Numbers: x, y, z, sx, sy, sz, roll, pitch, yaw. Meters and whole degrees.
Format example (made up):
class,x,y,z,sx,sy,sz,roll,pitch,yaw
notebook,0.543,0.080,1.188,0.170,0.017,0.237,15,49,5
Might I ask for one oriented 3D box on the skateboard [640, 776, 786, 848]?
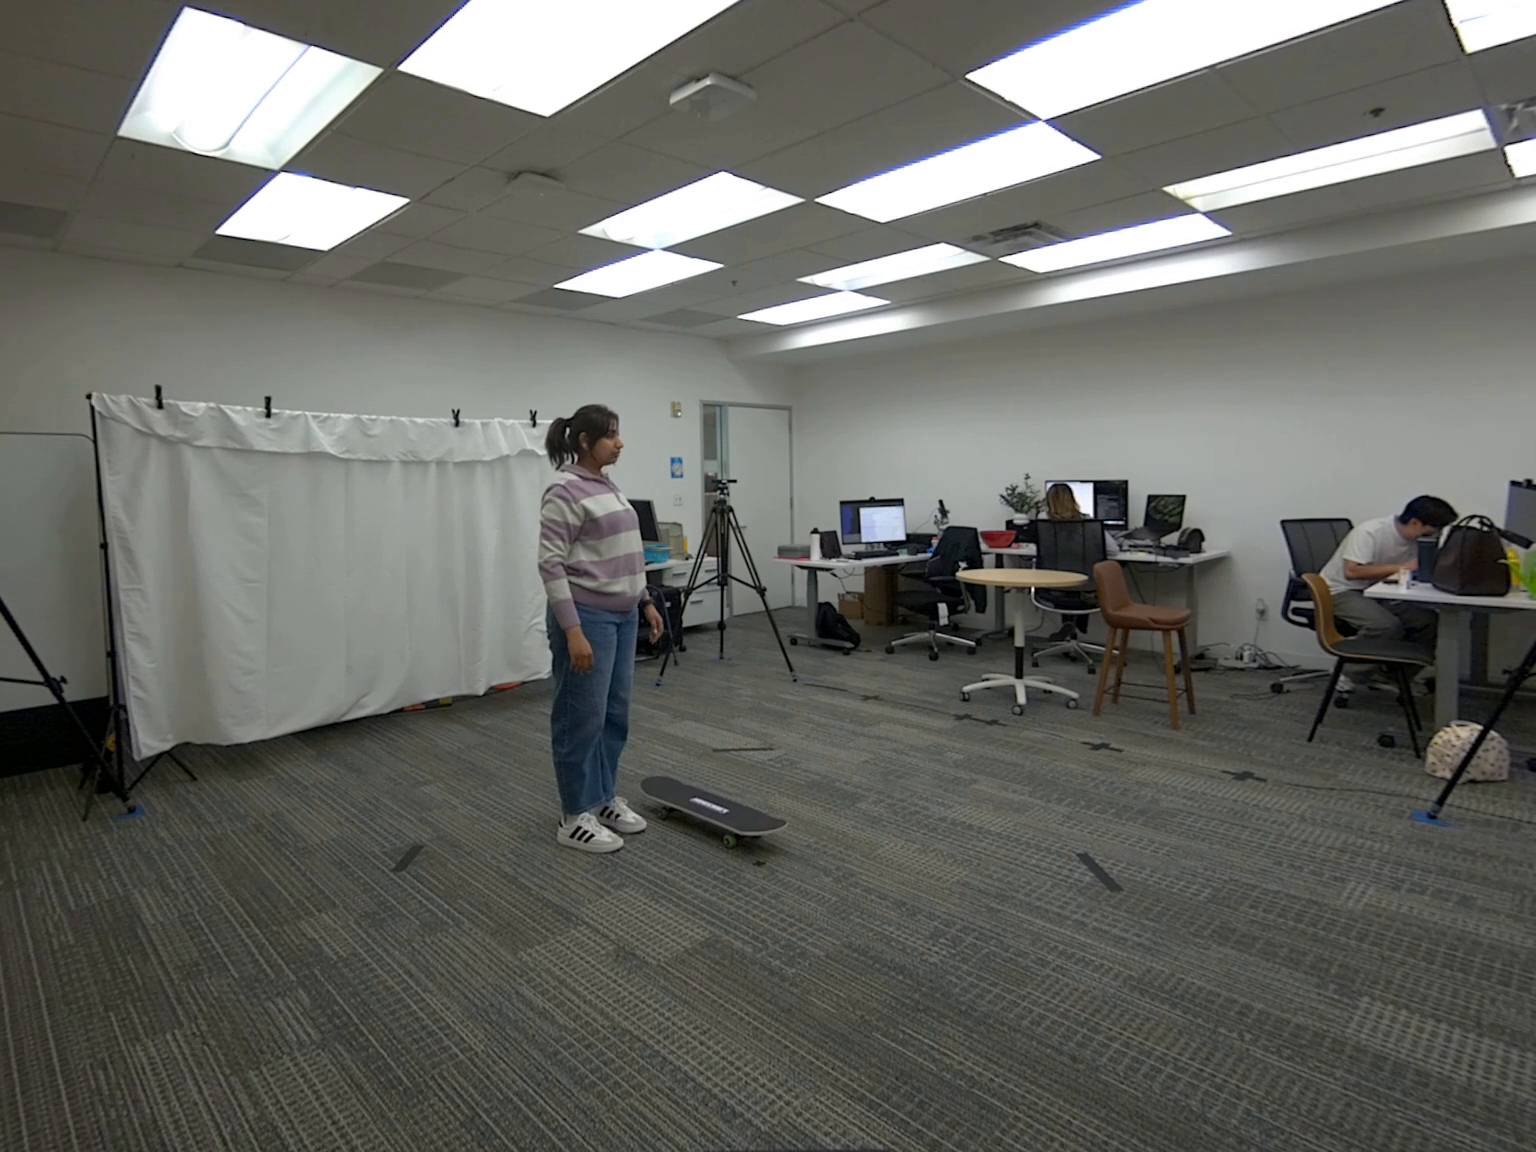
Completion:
class,x,y,z,sx,sy,sz,roll,pitch,yaw
skateboard,-0.237,0.954,3.439,0.810,0.110,0.188,5,9,45
